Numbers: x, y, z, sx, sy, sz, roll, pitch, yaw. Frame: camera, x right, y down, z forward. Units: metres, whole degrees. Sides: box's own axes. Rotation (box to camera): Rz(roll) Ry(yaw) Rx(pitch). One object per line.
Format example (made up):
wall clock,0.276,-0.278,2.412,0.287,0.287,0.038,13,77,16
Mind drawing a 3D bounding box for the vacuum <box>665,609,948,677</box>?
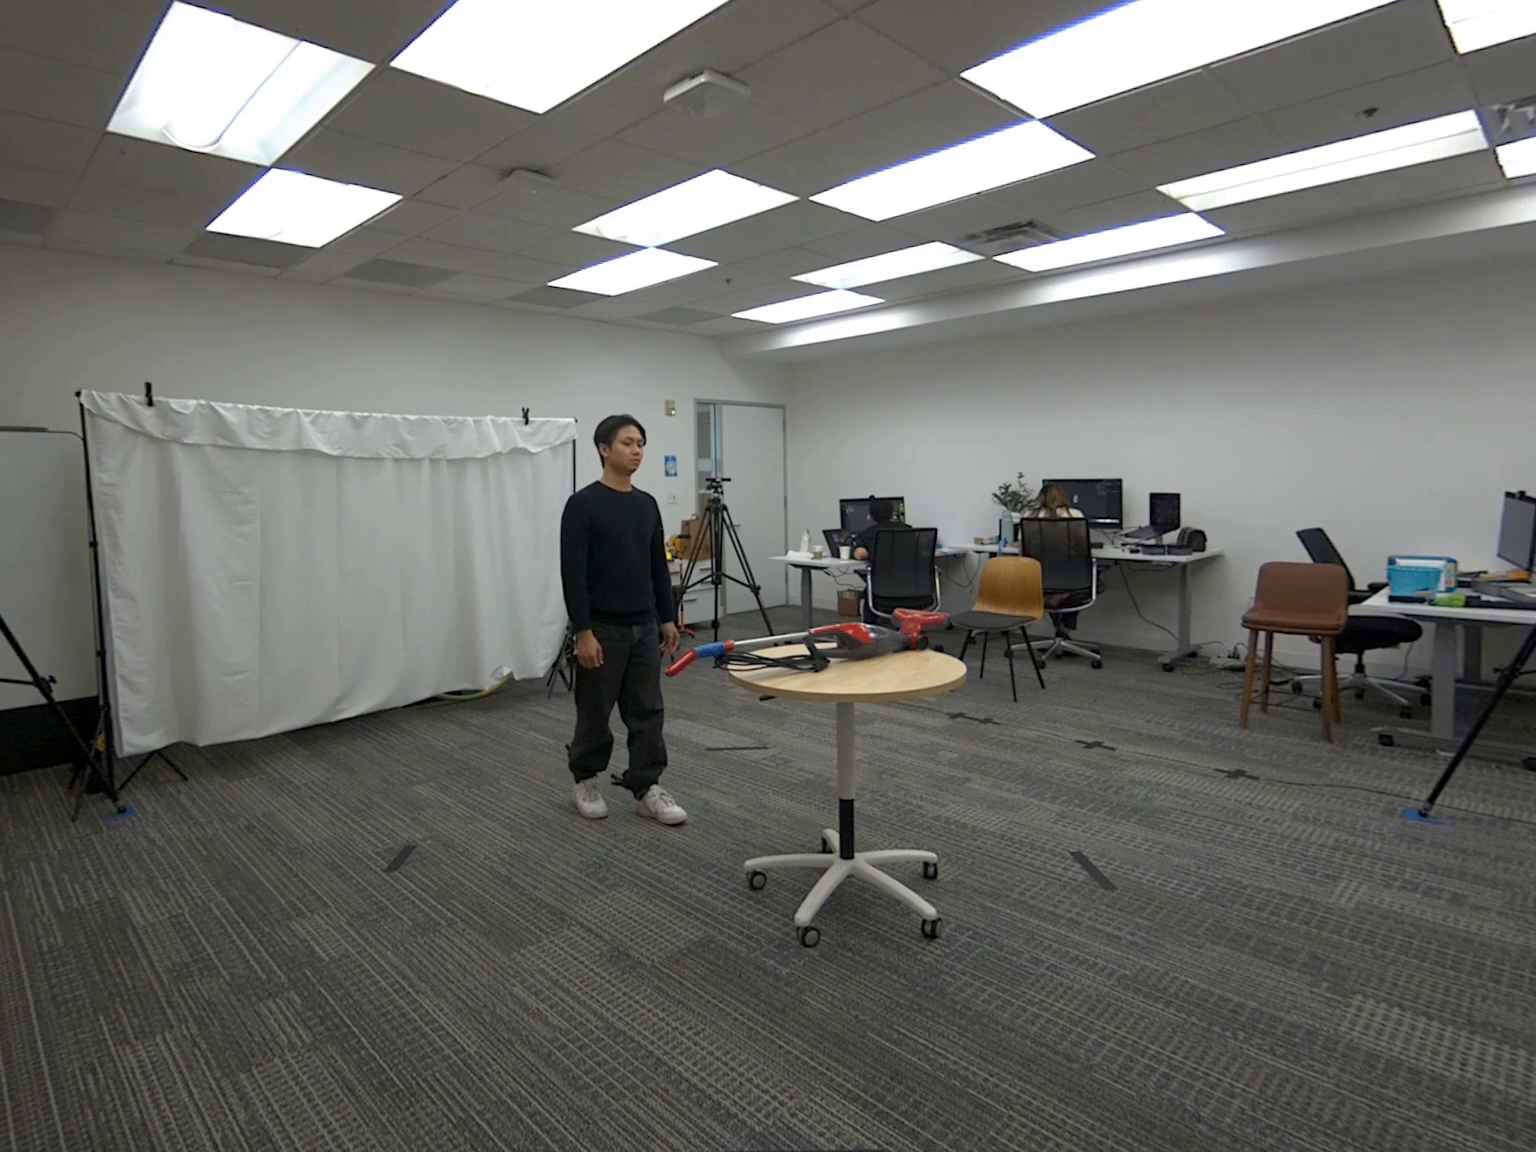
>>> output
vacuum,0.134,0.245,2.746,1.023,0.143,0.260,-6,6,-36
